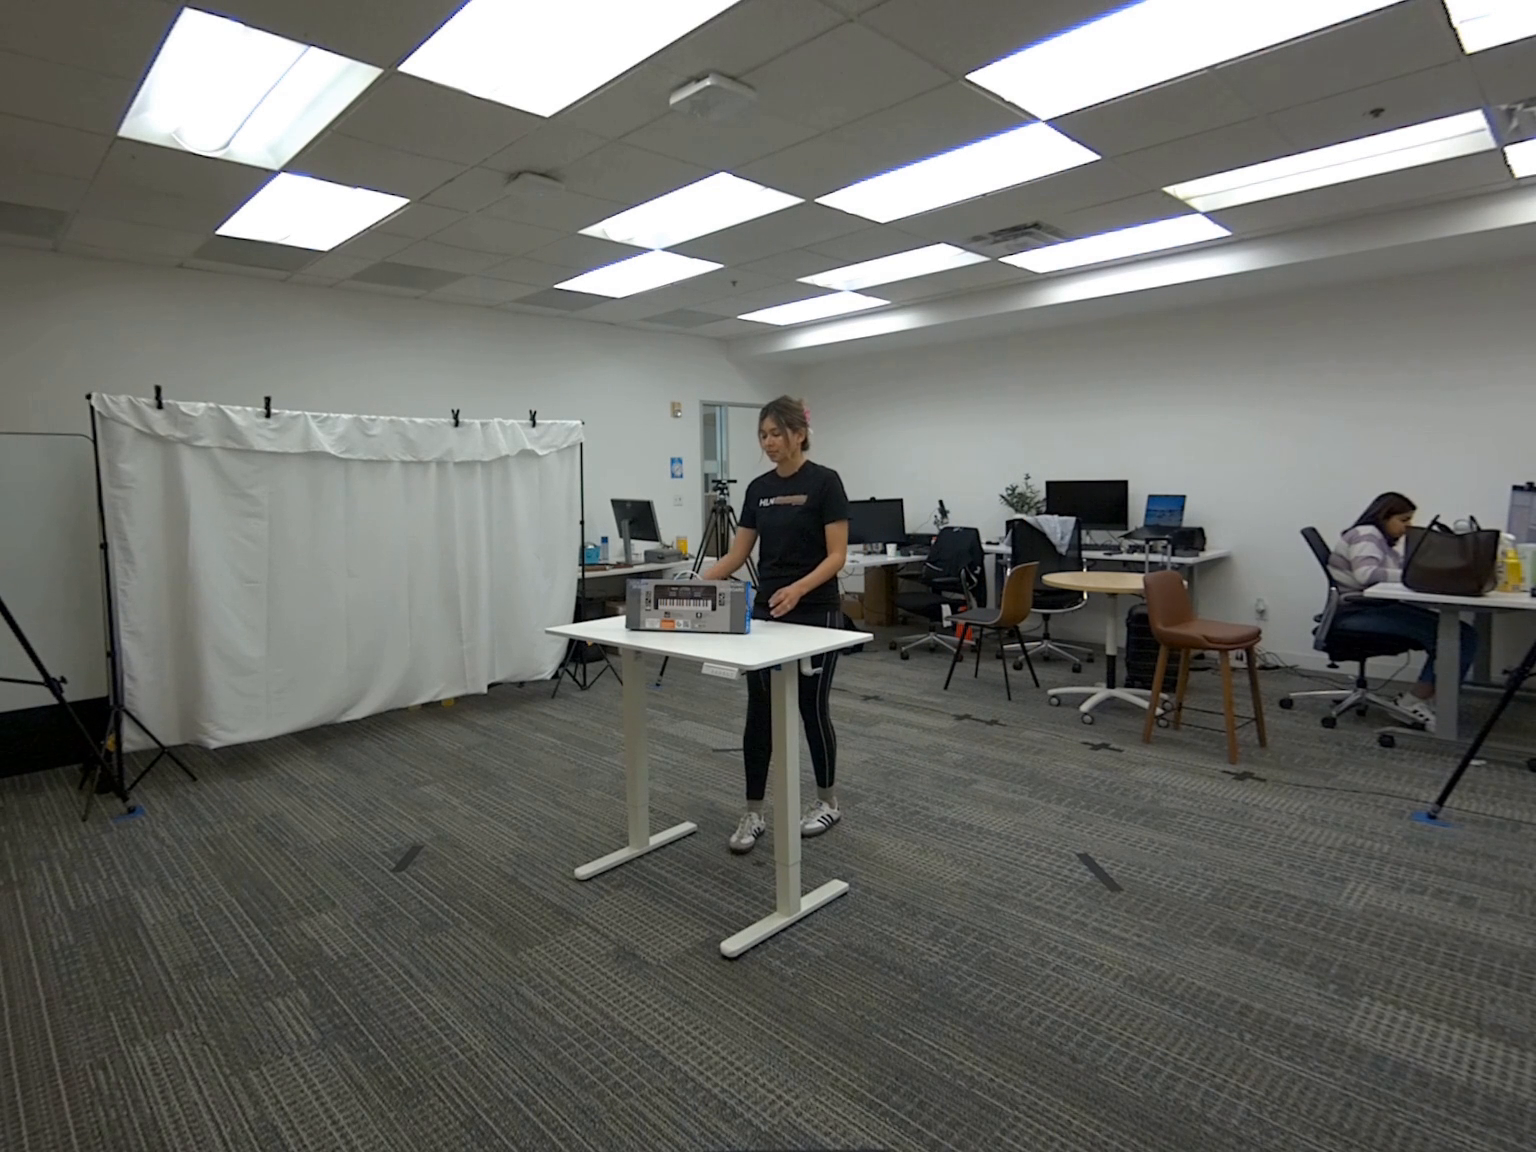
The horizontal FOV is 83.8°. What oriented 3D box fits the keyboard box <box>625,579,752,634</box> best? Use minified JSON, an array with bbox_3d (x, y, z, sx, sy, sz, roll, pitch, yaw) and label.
[{"bbox_3d":[-0.276,0.102,2.922,0.444,0.176,0.058,0,-4,18],"label":"keyboard box"}]
